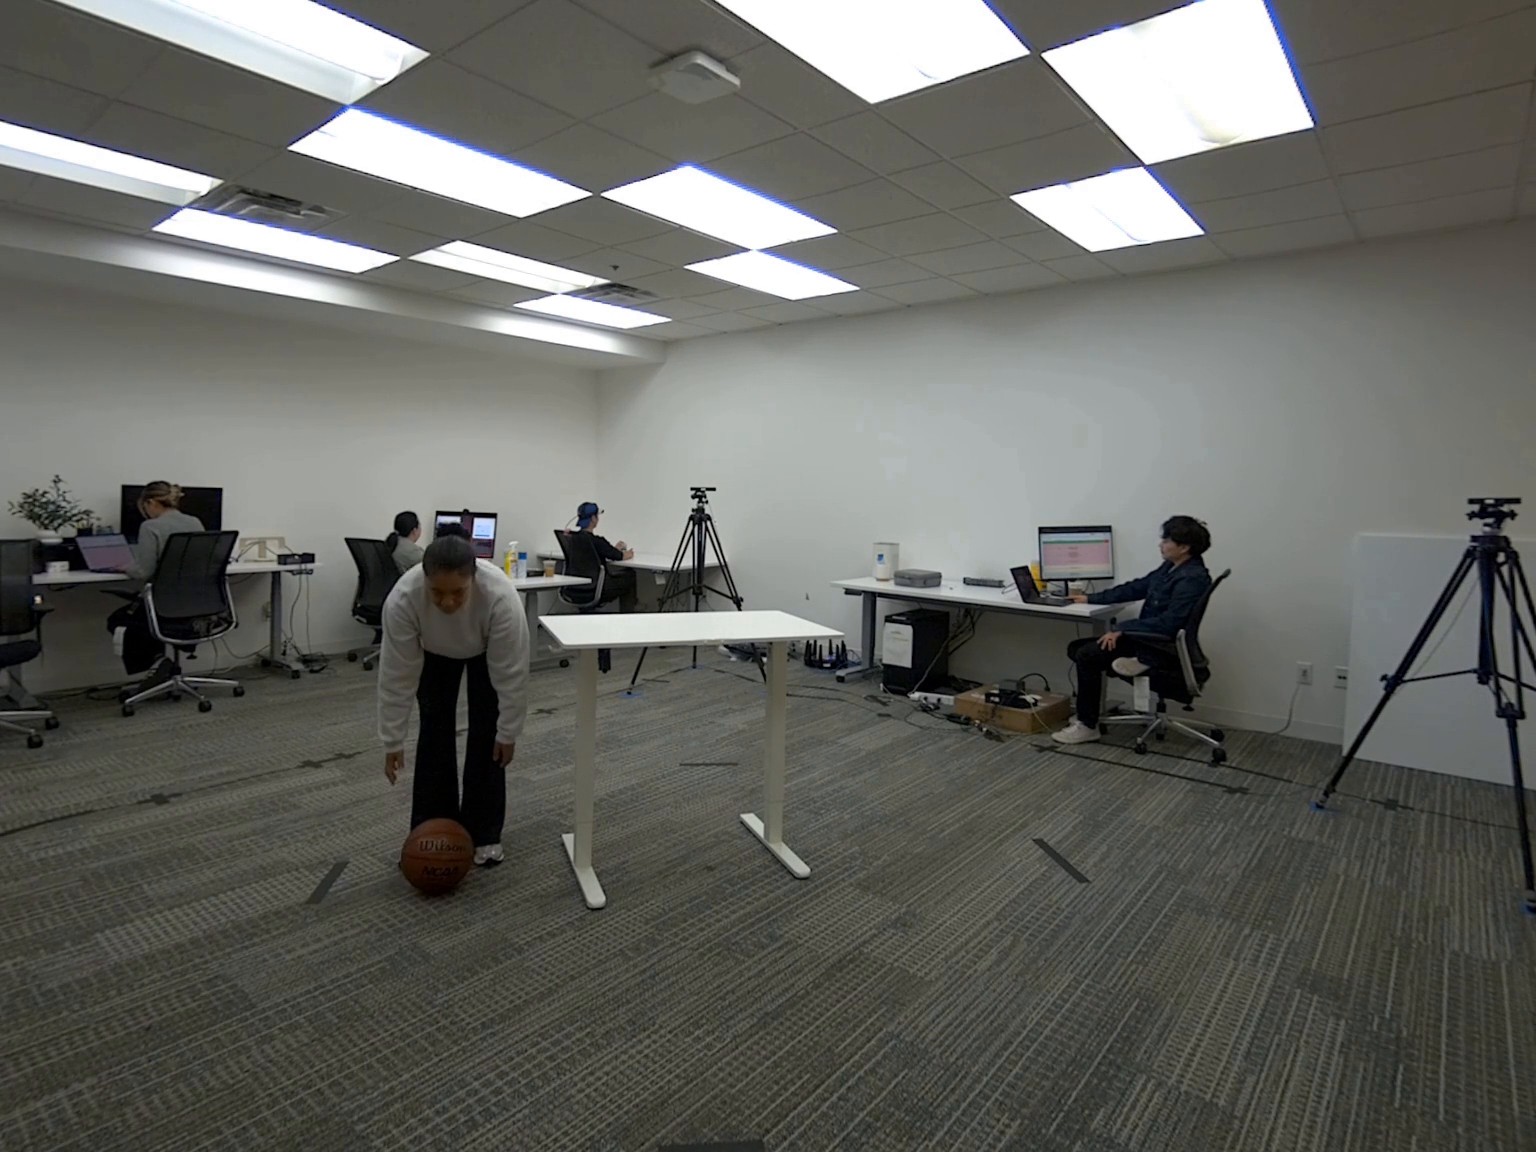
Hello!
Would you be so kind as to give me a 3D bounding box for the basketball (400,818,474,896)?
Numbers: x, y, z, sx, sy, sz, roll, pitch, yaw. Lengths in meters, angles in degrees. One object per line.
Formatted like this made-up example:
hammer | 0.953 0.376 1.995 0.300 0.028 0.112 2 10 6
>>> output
basketball | -1.145 0.951 2.907 0.235 0.235 0.237 1 4 -2
